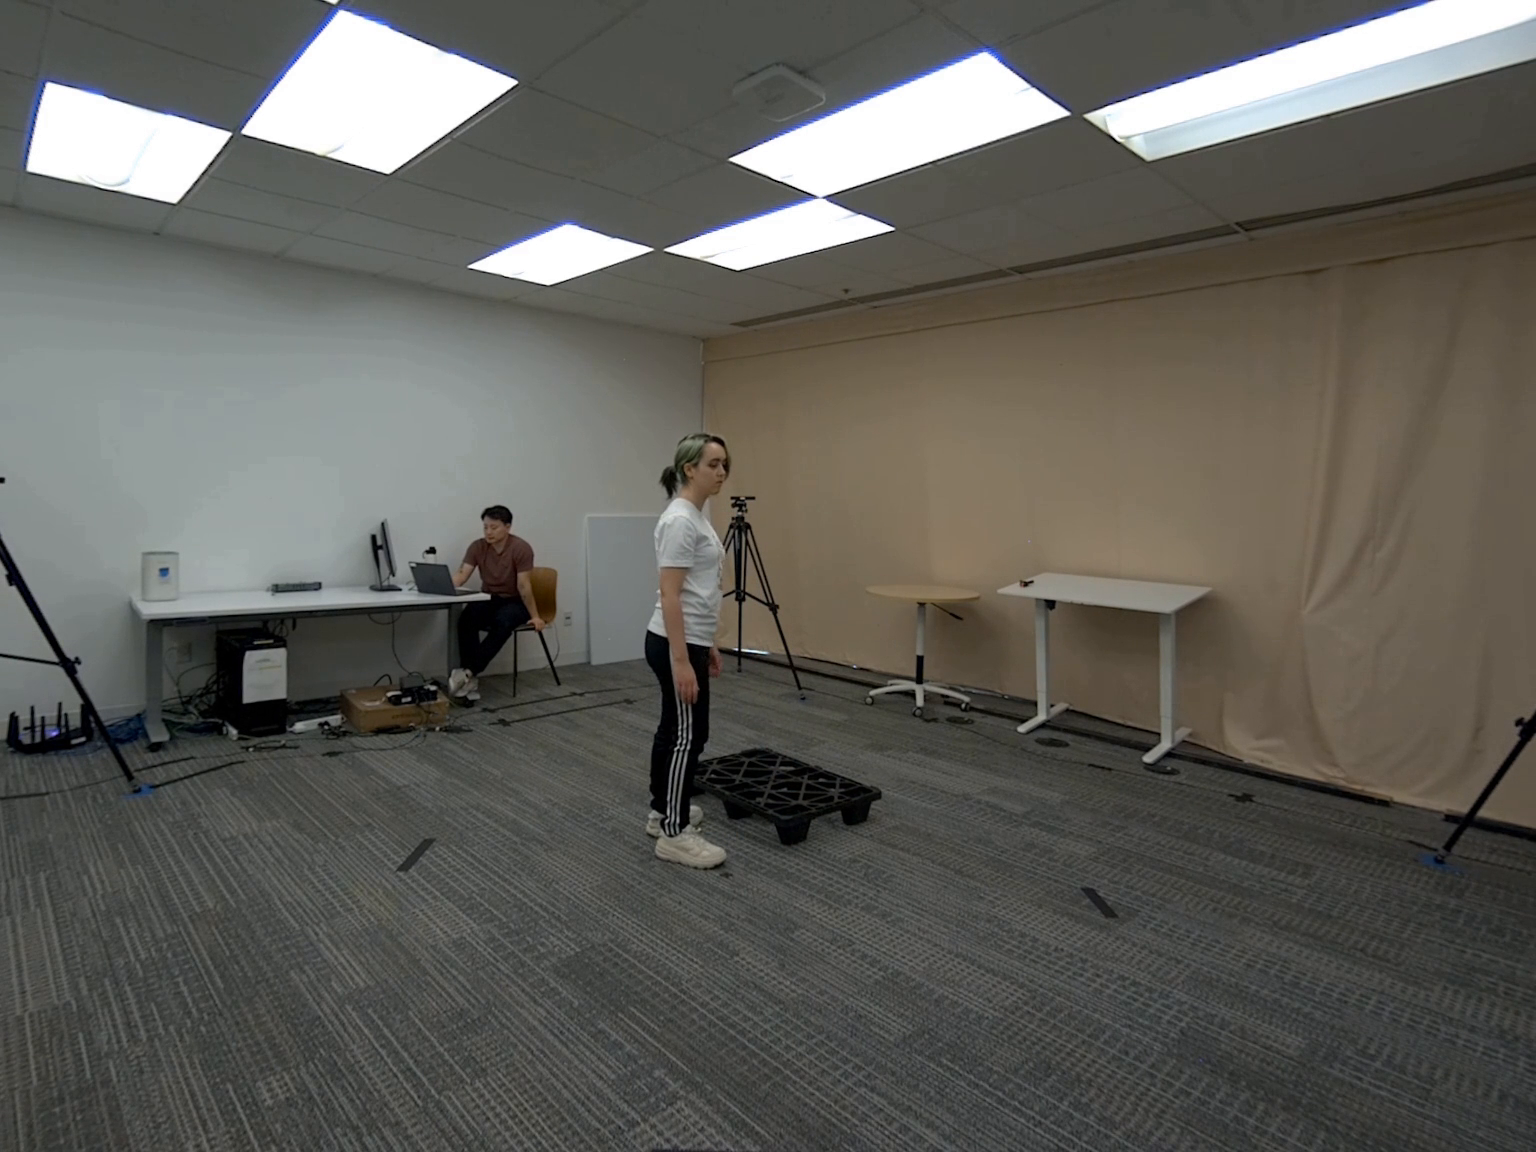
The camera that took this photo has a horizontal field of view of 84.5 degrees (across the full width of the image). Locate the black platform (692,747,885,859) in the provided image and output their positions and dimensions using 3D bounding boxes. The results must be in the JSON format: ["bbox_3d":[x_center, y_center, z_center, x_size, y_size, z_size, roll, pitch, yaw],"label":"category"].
[{"bbox_3d":[0.007,0.984,3.799,0.591,0.143,0.826,-3,6,-41],"label":"black platform"}]
